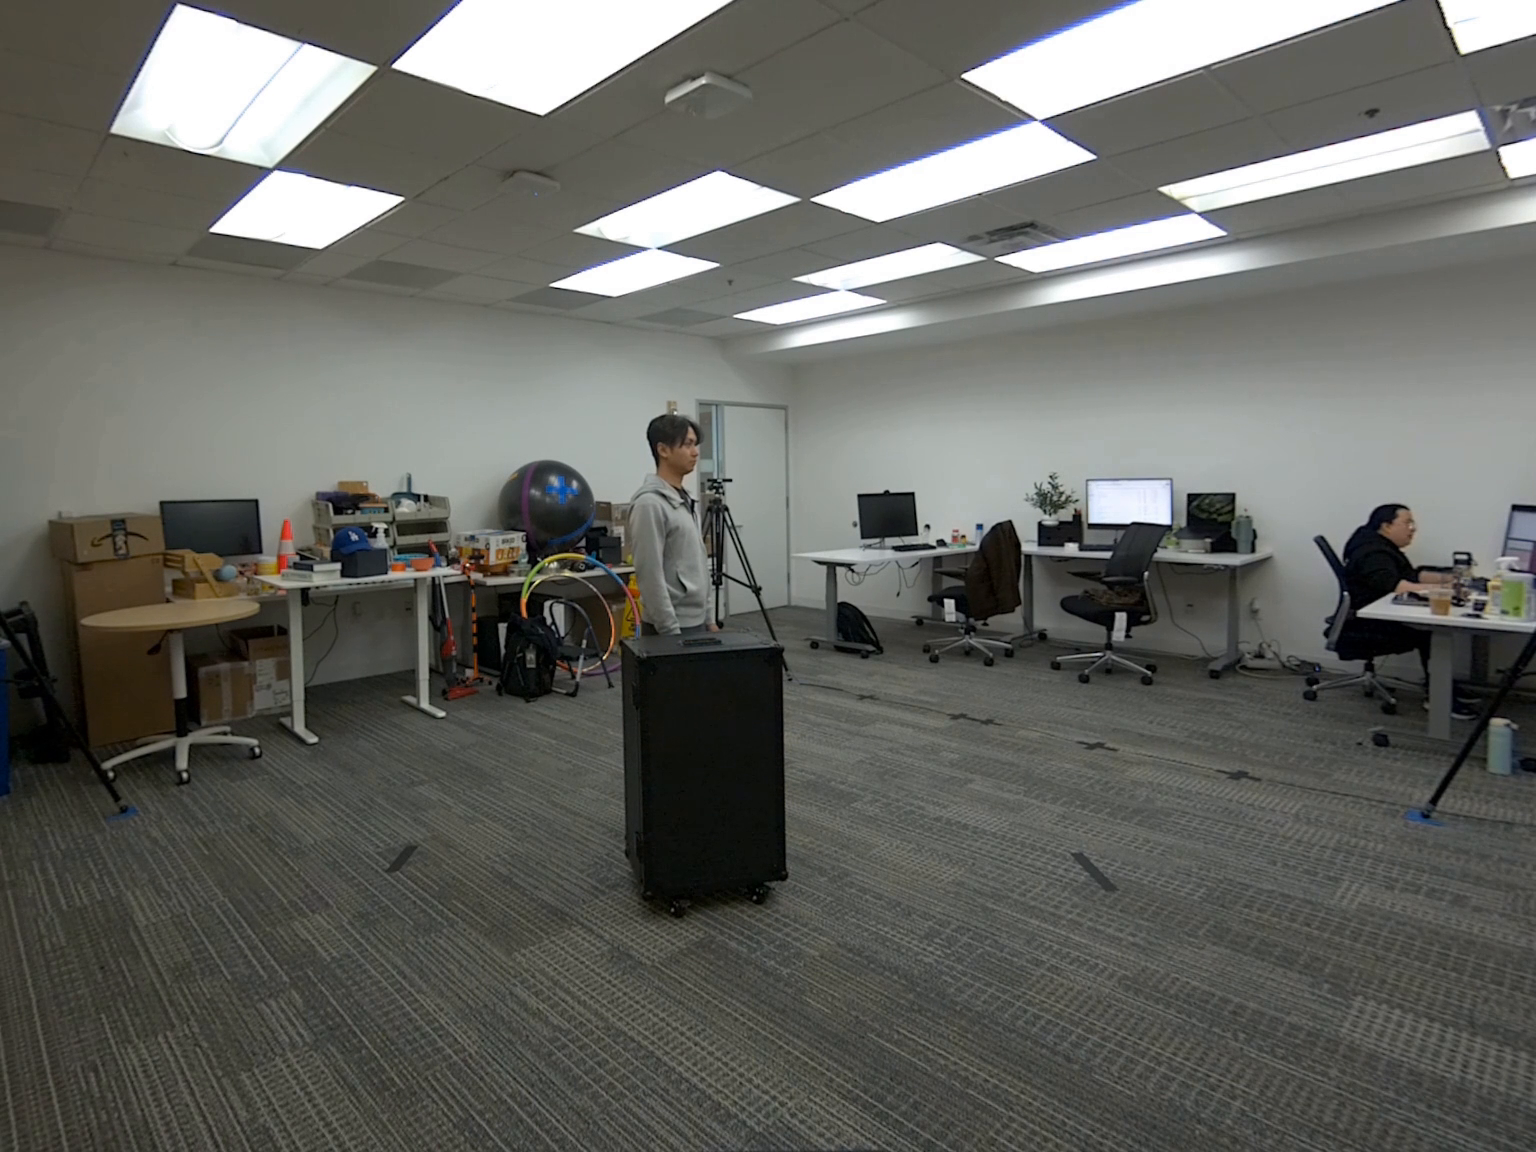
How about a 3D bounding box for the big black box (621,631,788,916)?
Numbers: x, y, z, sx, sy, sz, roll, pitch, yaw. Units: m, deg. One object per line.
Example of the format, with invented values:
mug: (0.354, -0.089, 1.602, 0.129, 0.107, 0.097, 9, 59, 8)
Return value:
big black box: (-0.233, 0.642, 2.915, 0.513, 0.859, 0.403, -3, 3, -17)
